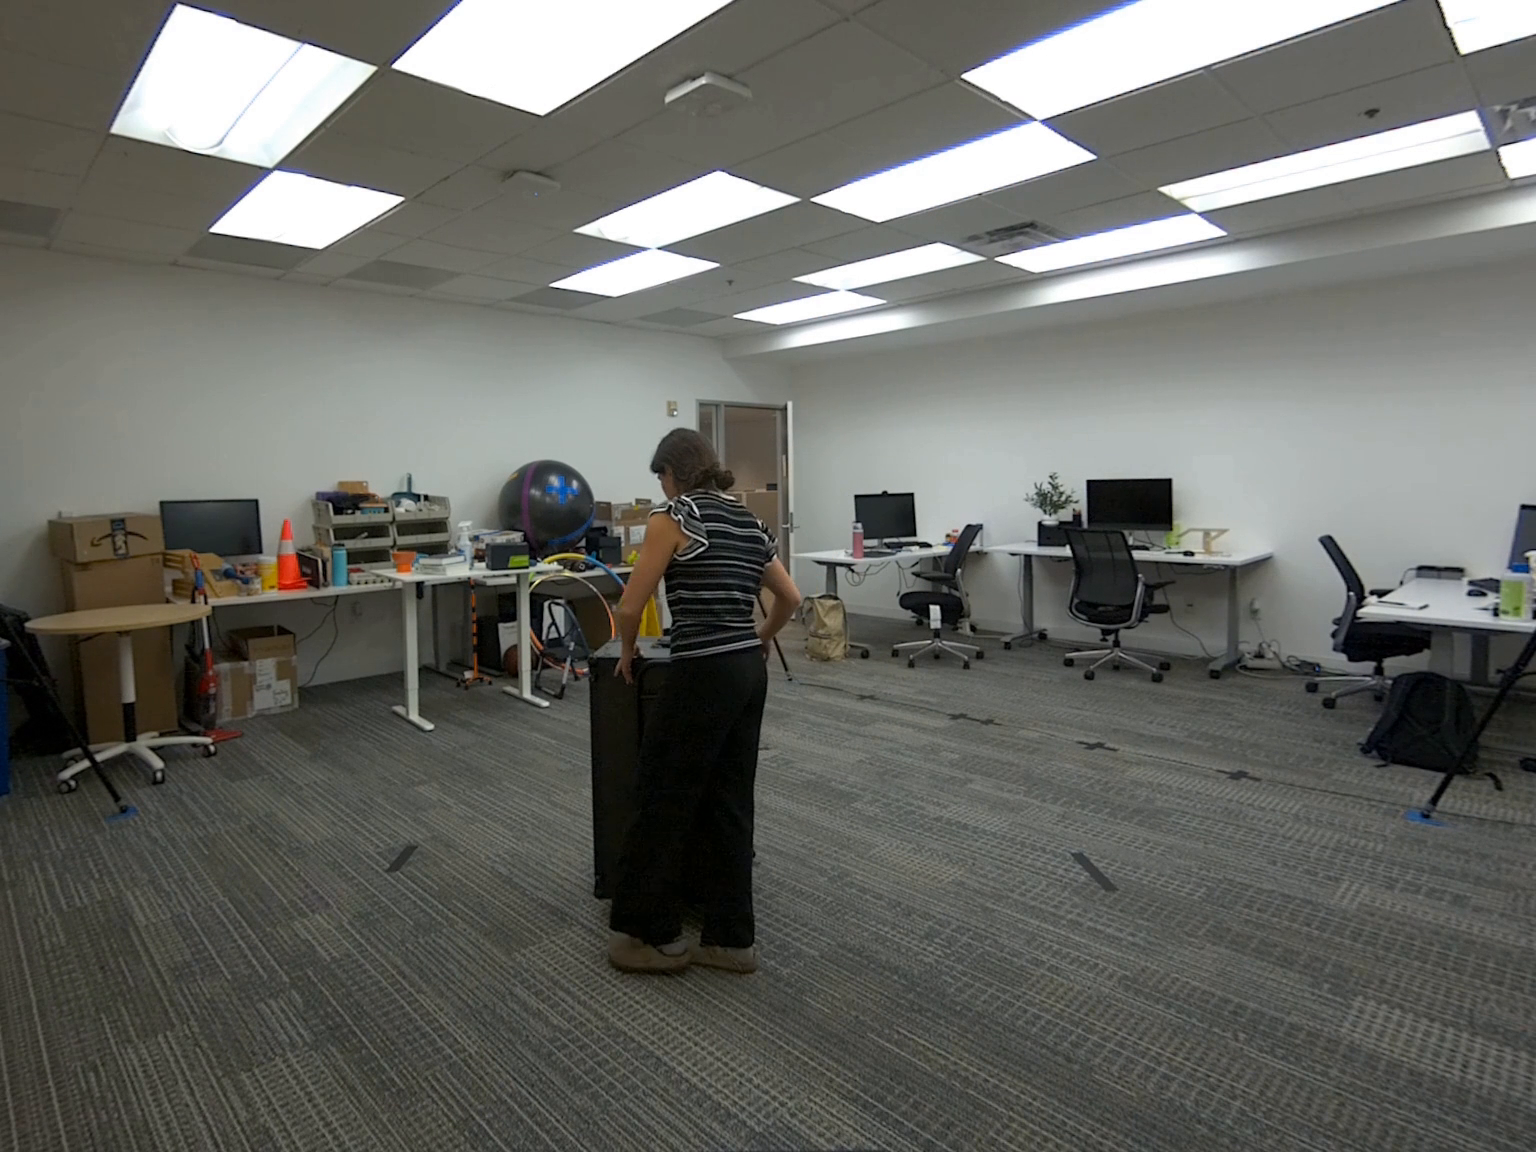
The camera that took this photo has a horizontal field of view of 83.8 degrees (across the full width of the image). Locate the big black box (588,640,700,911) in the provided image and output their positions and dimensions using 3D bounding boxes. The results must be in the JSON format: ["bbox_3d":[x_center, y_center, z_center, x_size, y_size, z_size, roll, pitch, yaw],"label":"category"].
[{"bbox_3d":[-0.301,0.657,2.830,0.525,0.858,0.395,0,4,6],"label":"big black box"}]
